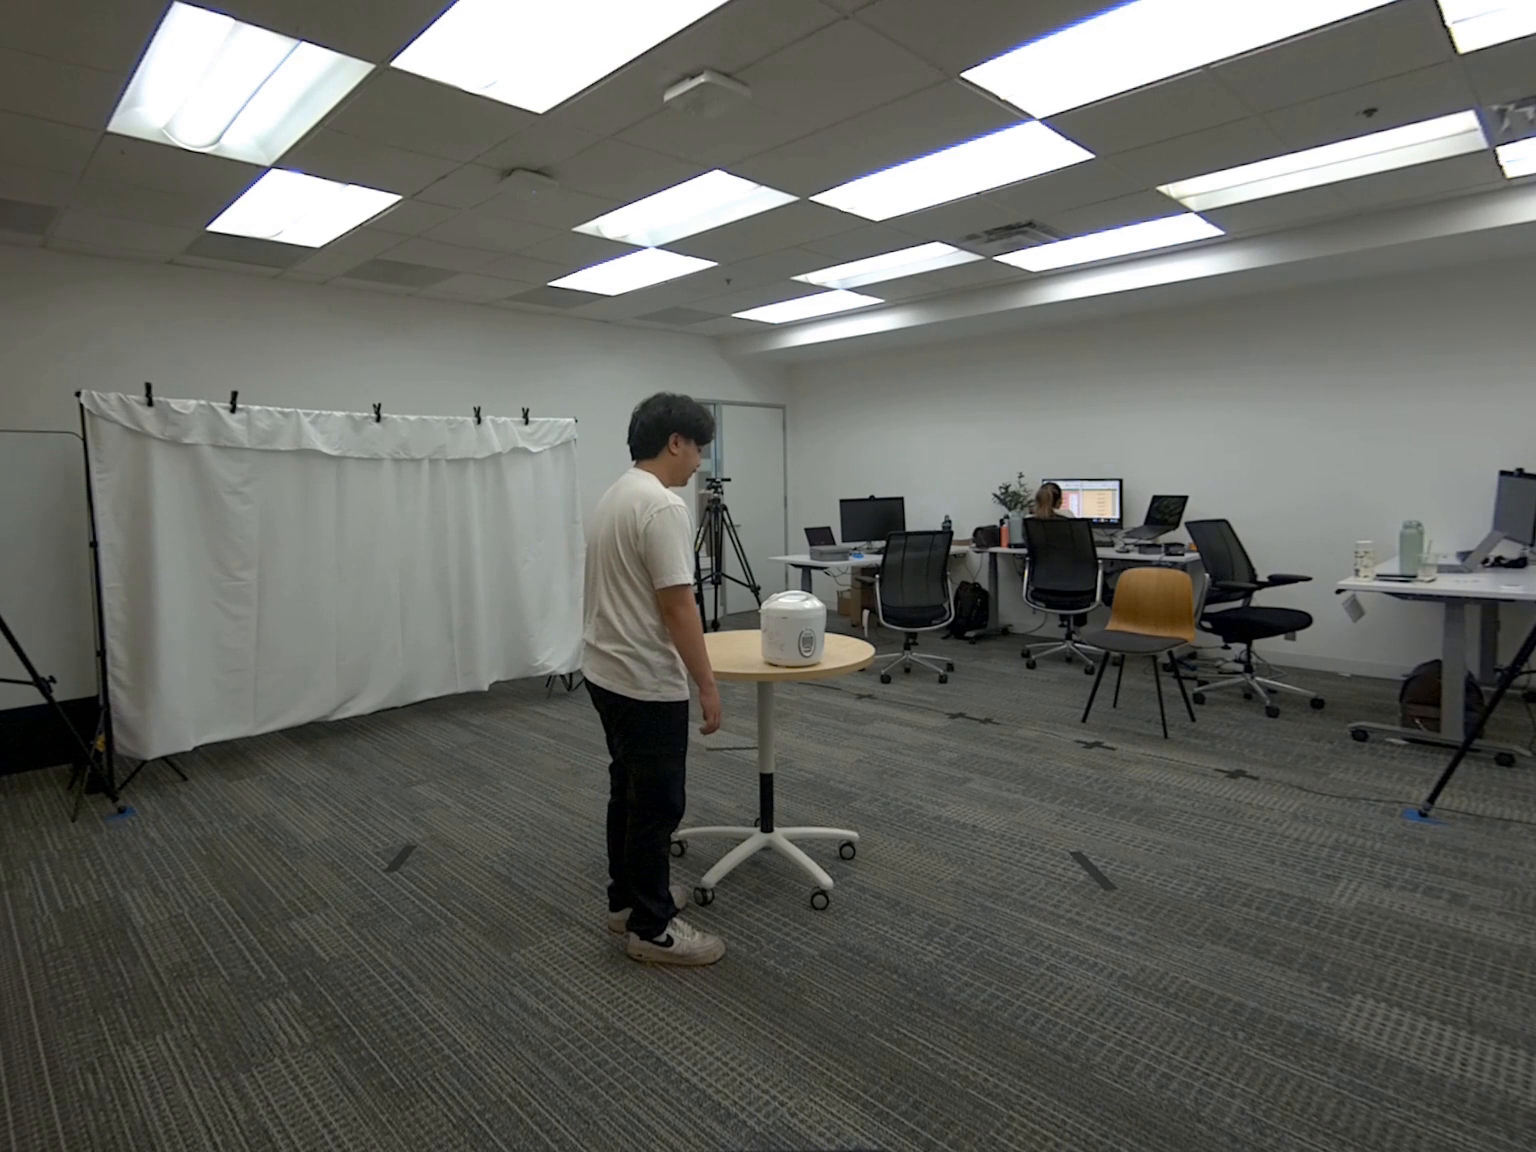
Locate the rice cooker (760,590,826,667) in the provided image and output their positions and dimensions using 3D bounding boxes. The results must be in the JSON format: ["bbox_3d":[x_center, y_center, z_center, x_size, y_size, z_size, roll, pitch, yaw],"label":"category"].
[{"bbox_3d":[0.086,0.164,2.768,0.216,0.232,0.222,-4,5,-23],"label":"rice cooker"}]
